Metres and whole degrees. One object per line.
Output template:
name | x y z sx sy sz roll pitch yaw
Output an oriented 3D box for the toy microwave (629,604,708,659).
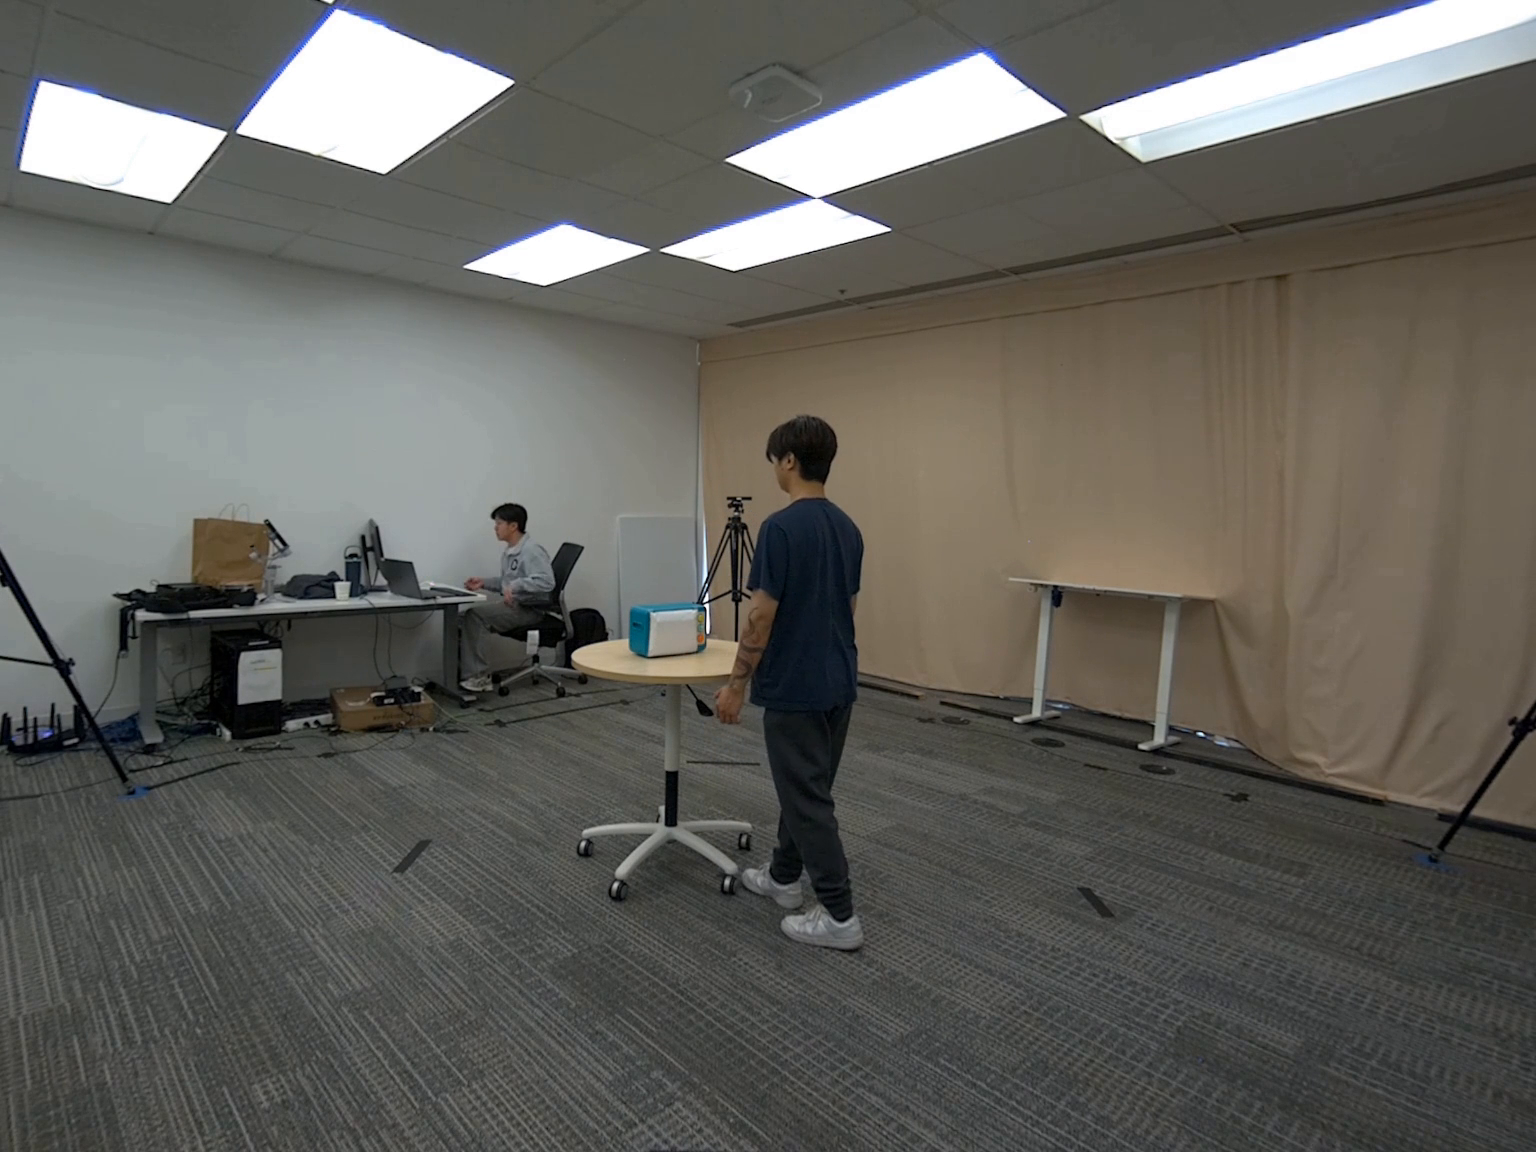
toy microwave | -0.378 0.204 3.189 0.280 0.183 0.156 -2 5 -38
